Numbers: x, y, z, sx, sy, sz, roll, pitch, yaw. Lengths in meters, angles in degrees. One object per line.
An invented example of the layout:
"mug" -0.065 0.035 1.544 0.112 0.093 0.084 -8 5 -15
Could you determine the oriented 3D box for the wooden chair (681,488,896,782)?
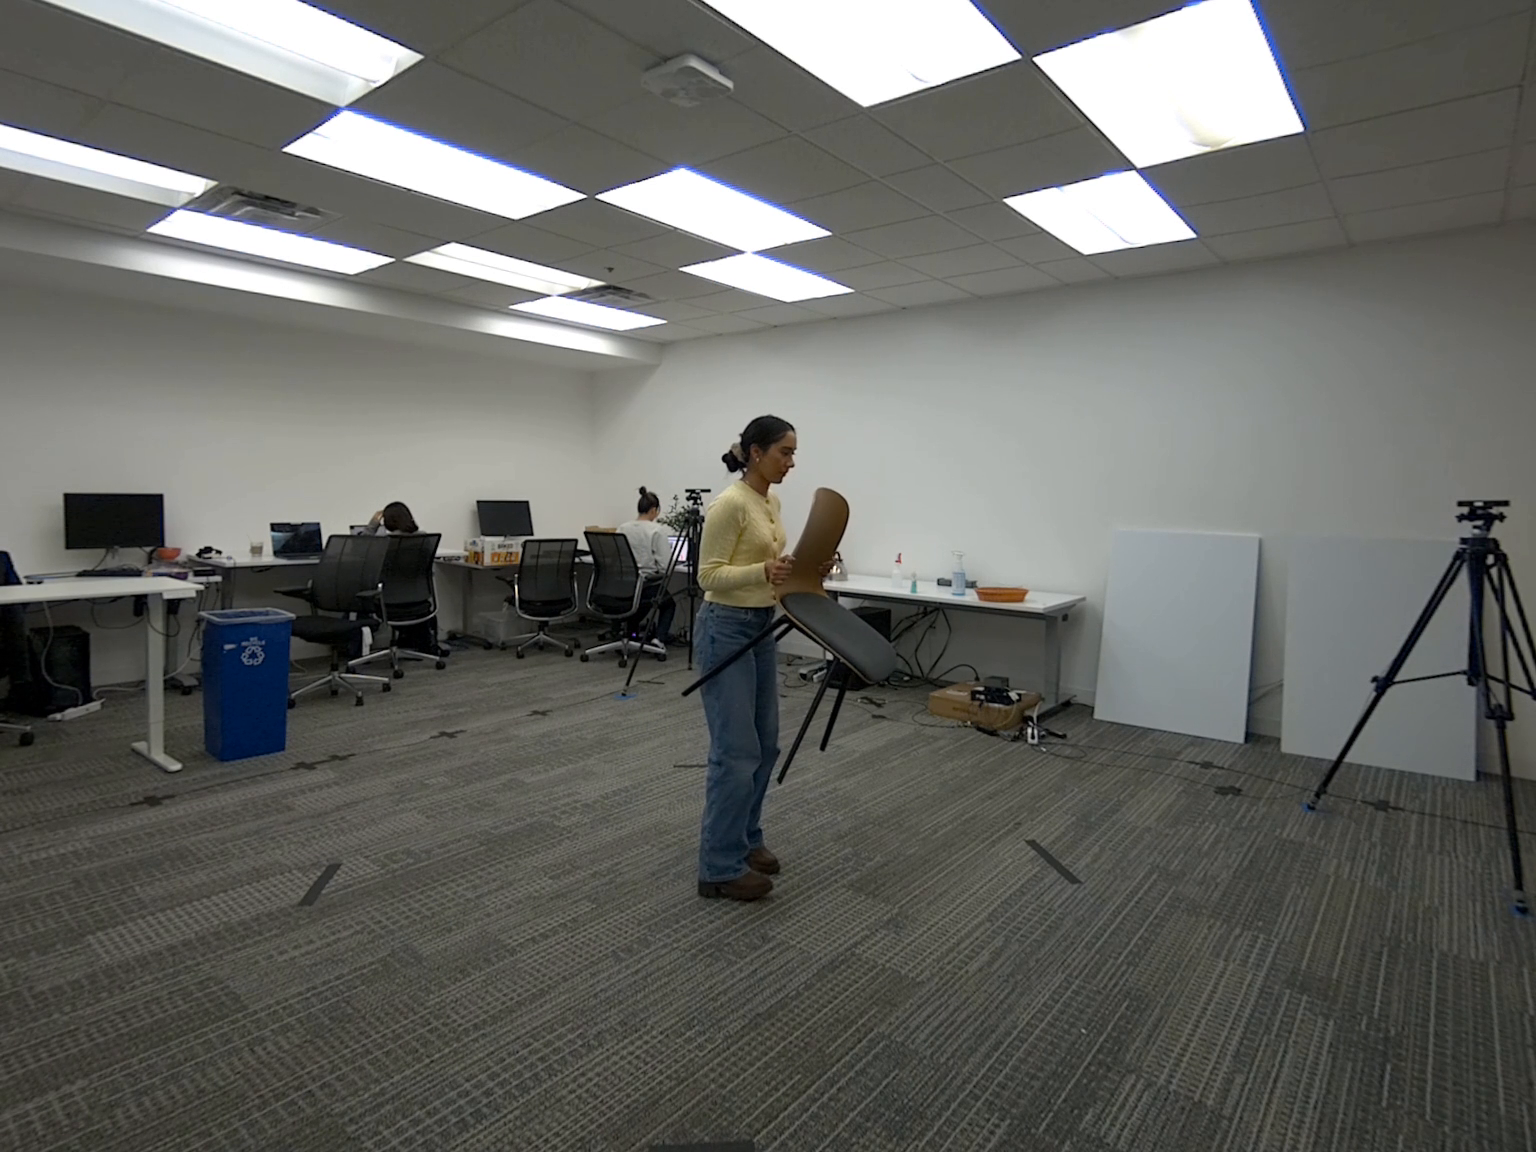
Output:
"wooden chair" 0.183 0.203 2.944 0.538 0.873 0.467 34 14 20
